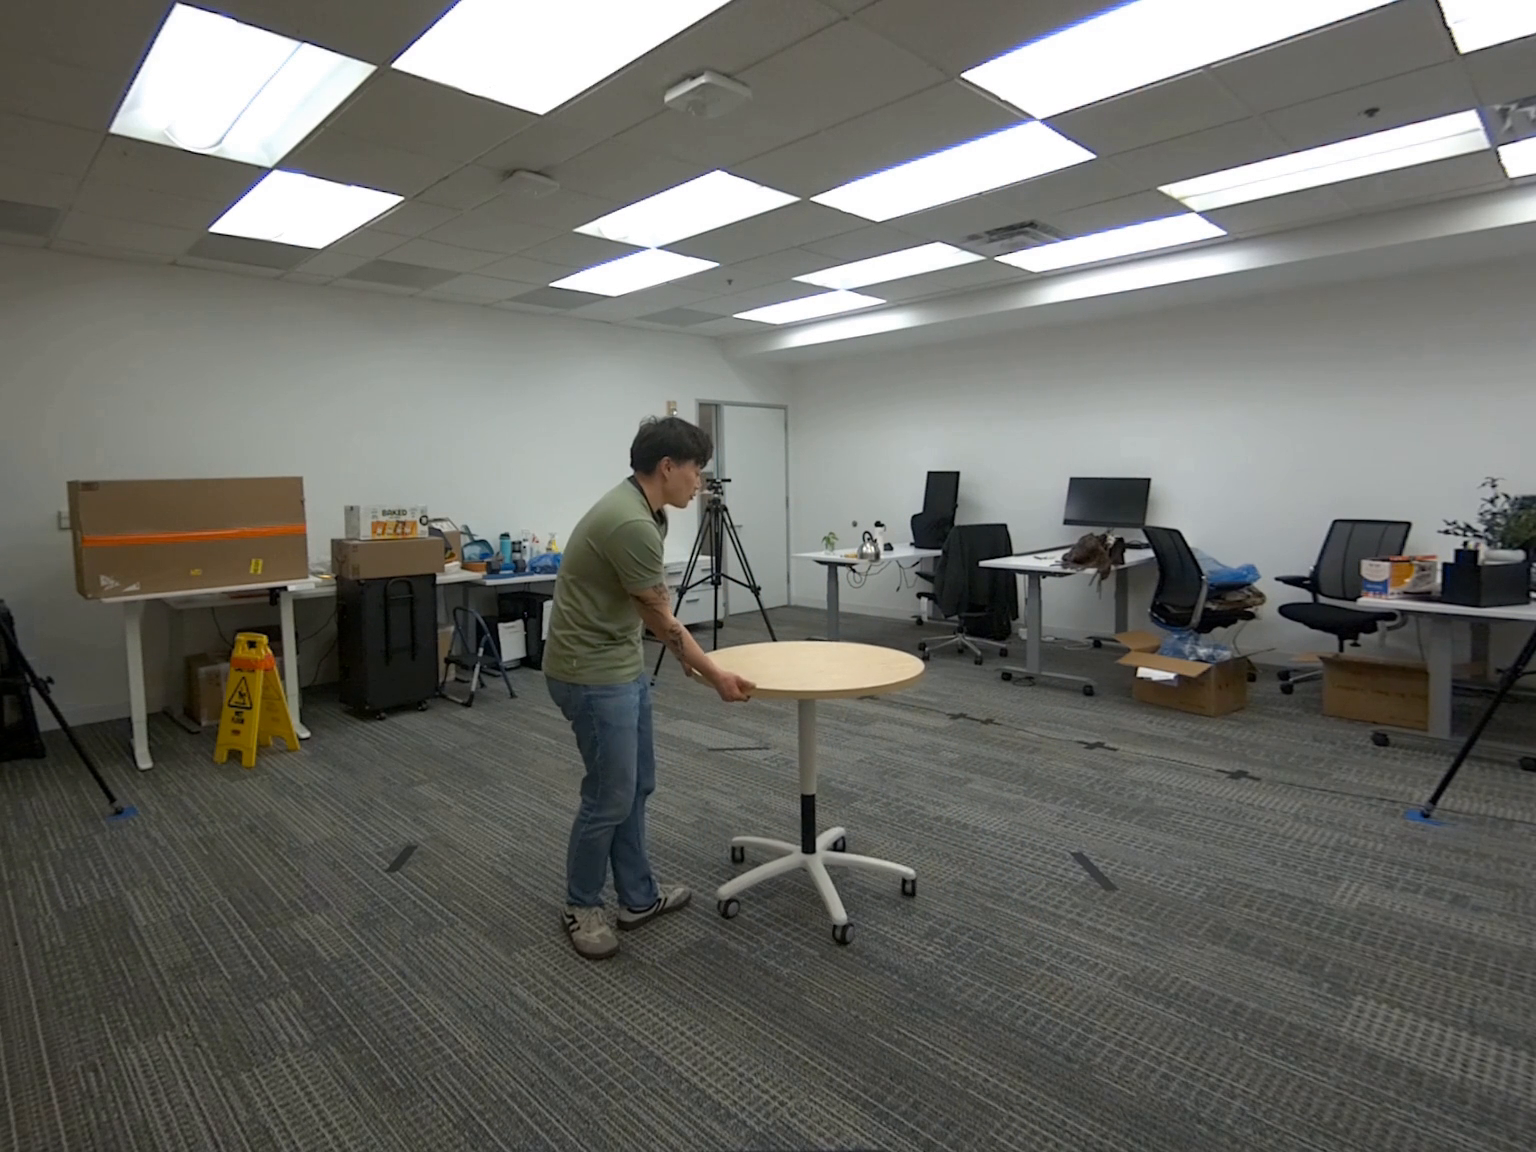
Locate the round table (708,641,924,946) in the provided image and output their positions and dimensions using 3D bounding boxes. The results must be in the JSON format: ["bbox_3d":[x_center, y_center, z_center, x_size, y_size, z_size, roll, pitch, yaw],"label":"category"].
[{"bbox_3d":[0.141,0.679,2.863,0.763,0.791,0.768,-1,5,-2],"label":"round table"}]
